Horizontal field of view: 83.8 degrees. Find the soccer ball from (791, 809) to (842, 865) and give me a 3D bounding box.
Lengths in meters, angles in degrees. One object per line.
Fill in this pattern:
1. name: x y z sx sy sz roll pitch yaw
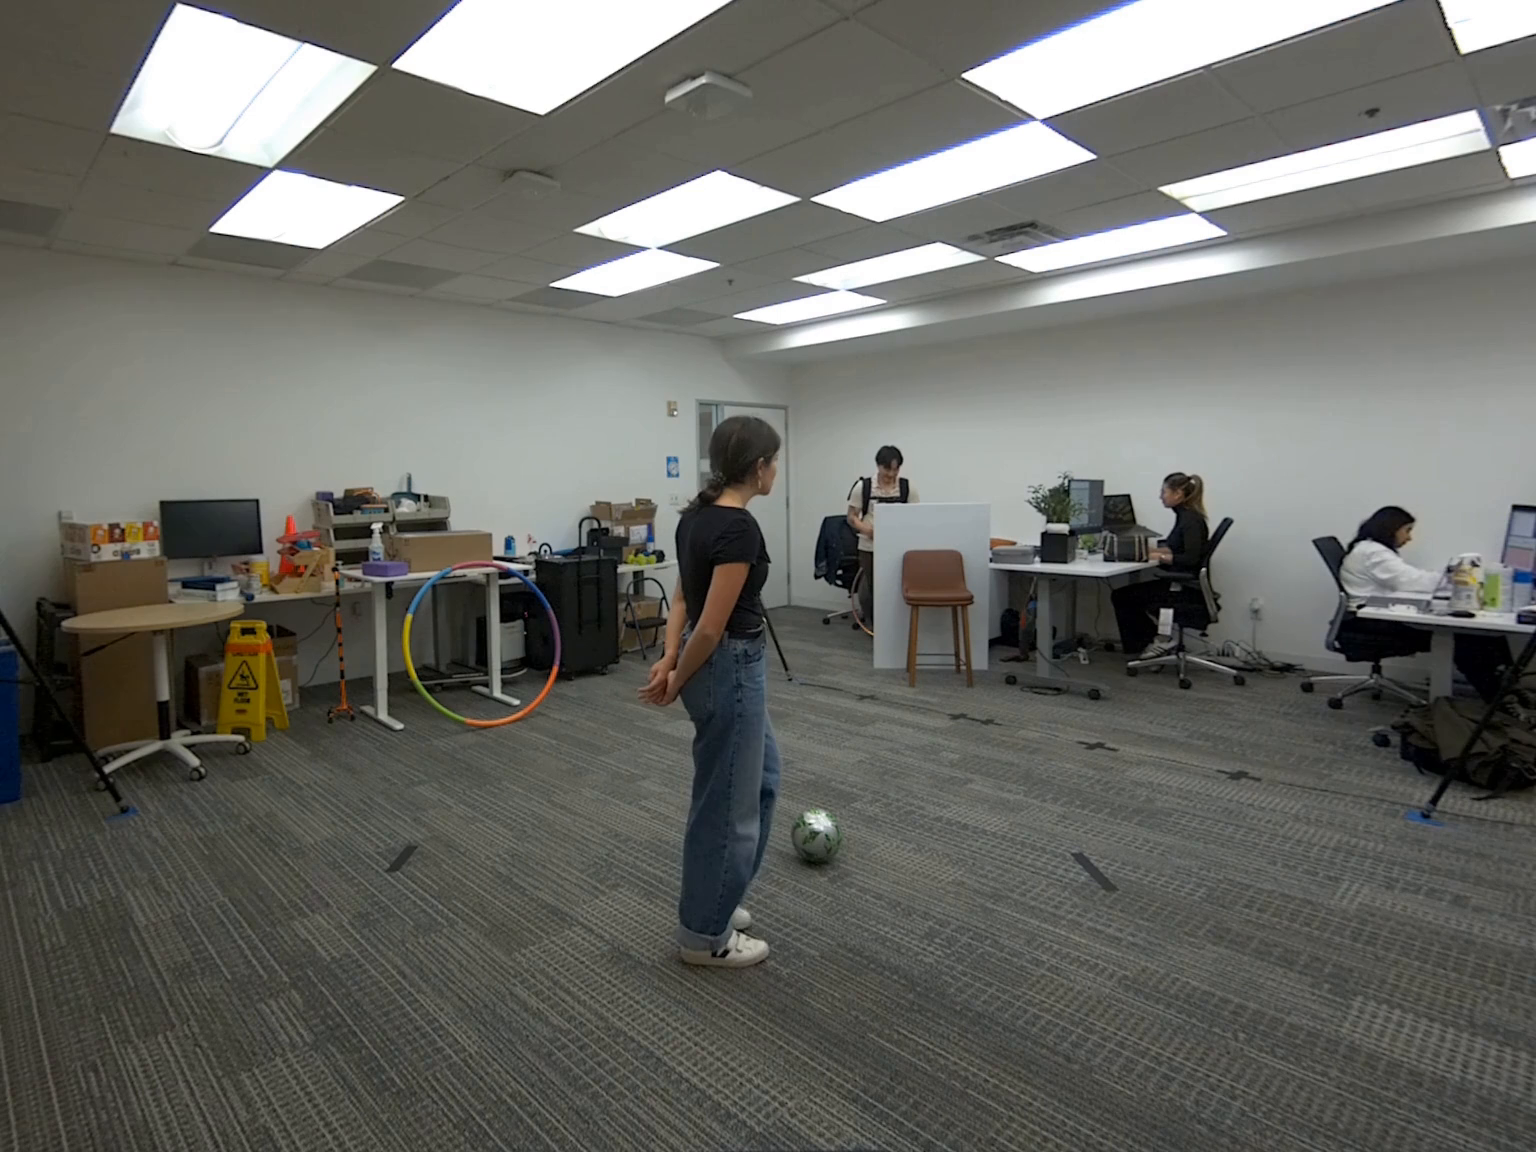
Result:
1. soccer ball: 0.176 0.943 3.124 0.187 0.187 0.188 -1 5 -2
